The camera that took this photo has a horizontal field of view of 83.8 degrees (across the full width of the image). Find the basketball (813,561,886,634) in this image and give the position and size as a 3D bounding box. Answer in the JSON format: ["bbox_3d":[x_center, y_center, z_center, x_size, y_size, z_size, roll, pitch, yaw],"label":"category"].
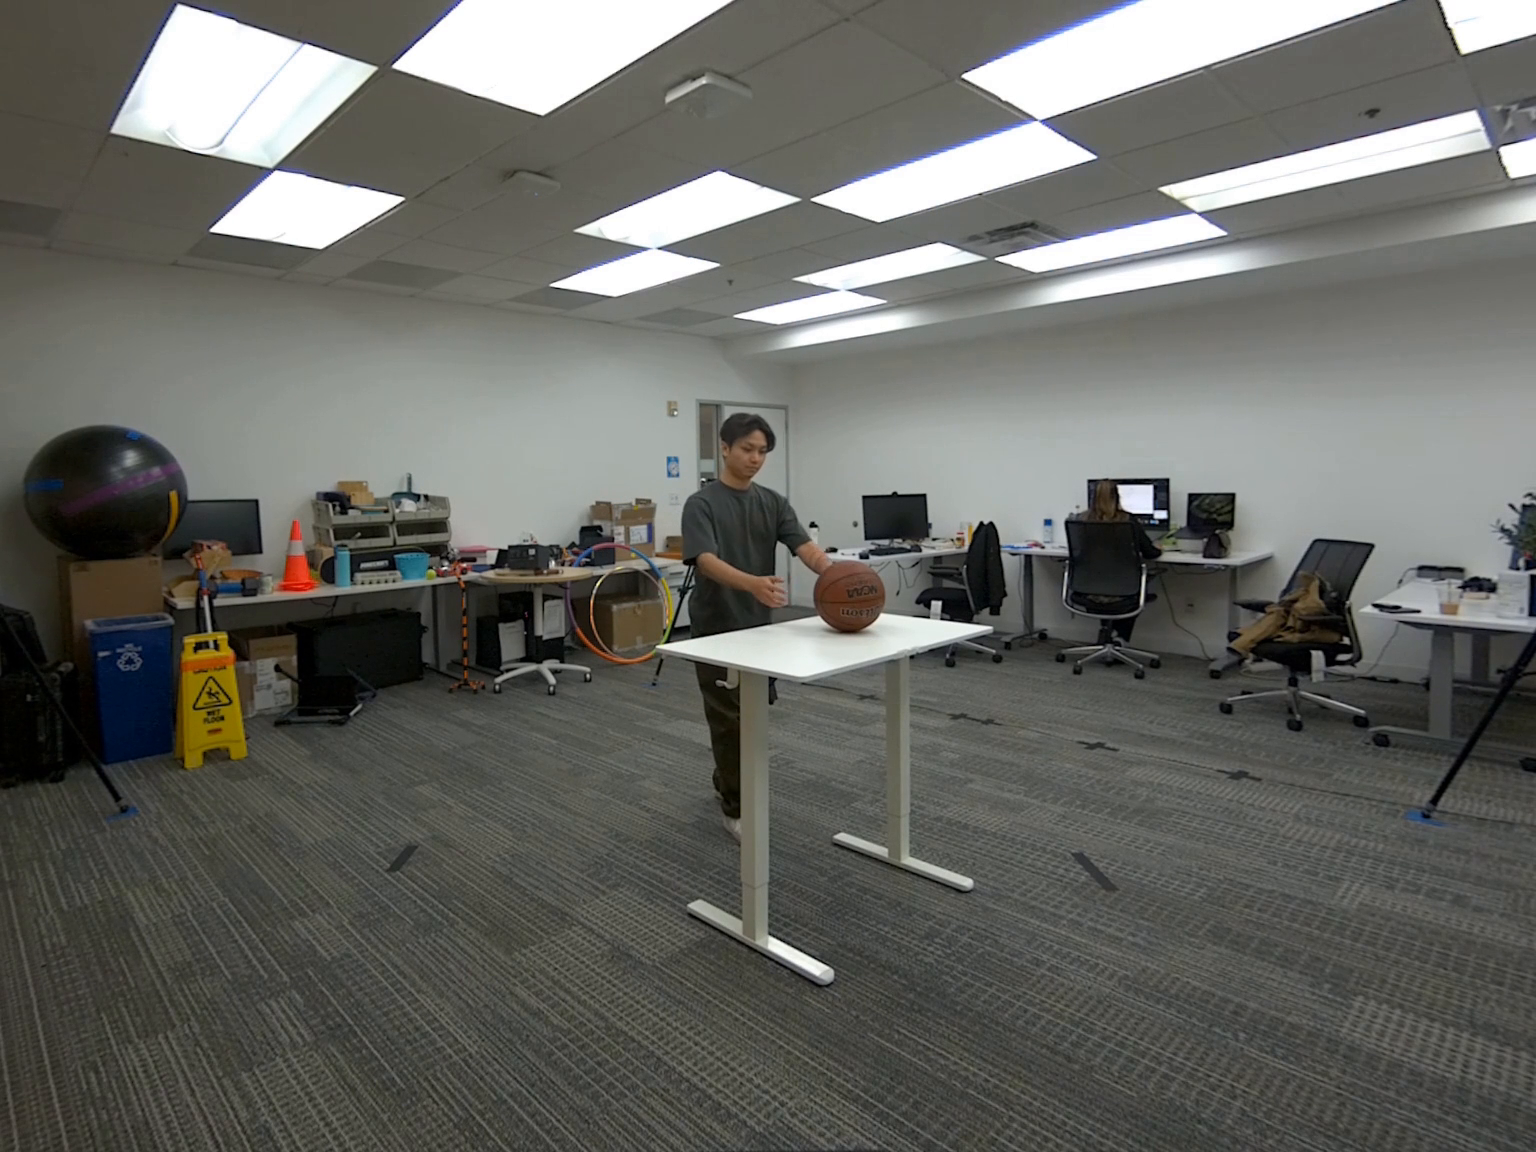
[{"bbox_3d":[0.270,0.065,2.864,0.236,0.235,0.237,-1,5,-2],"label":"basketball"}]
